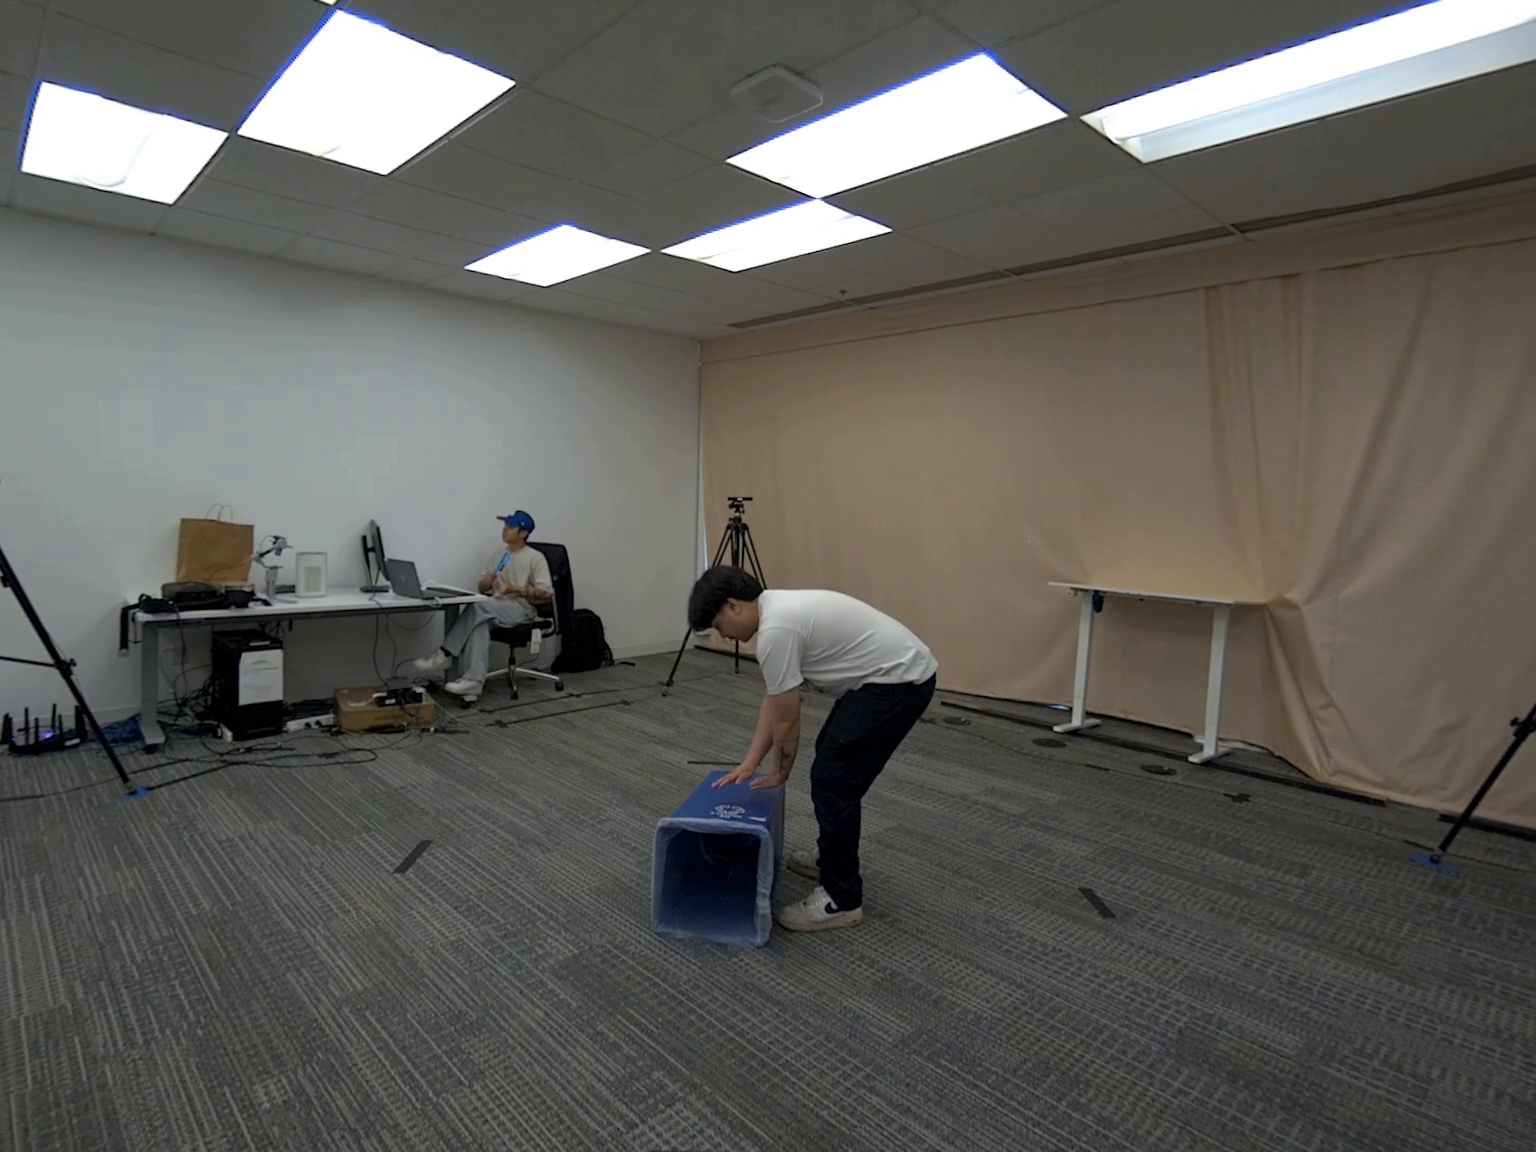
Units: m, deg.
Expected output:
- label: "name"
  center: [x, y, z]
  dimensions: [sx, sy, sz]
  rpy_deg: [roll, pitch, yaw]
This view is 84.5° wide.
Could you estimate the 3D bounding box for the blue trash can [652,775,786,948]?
- label: "blue trash can"
  center: [-0.143, 0.949, 2.981]
  dimensions: [0.376, 0.378, 0.709]
  rpy_deg: [1, 2, 7]
